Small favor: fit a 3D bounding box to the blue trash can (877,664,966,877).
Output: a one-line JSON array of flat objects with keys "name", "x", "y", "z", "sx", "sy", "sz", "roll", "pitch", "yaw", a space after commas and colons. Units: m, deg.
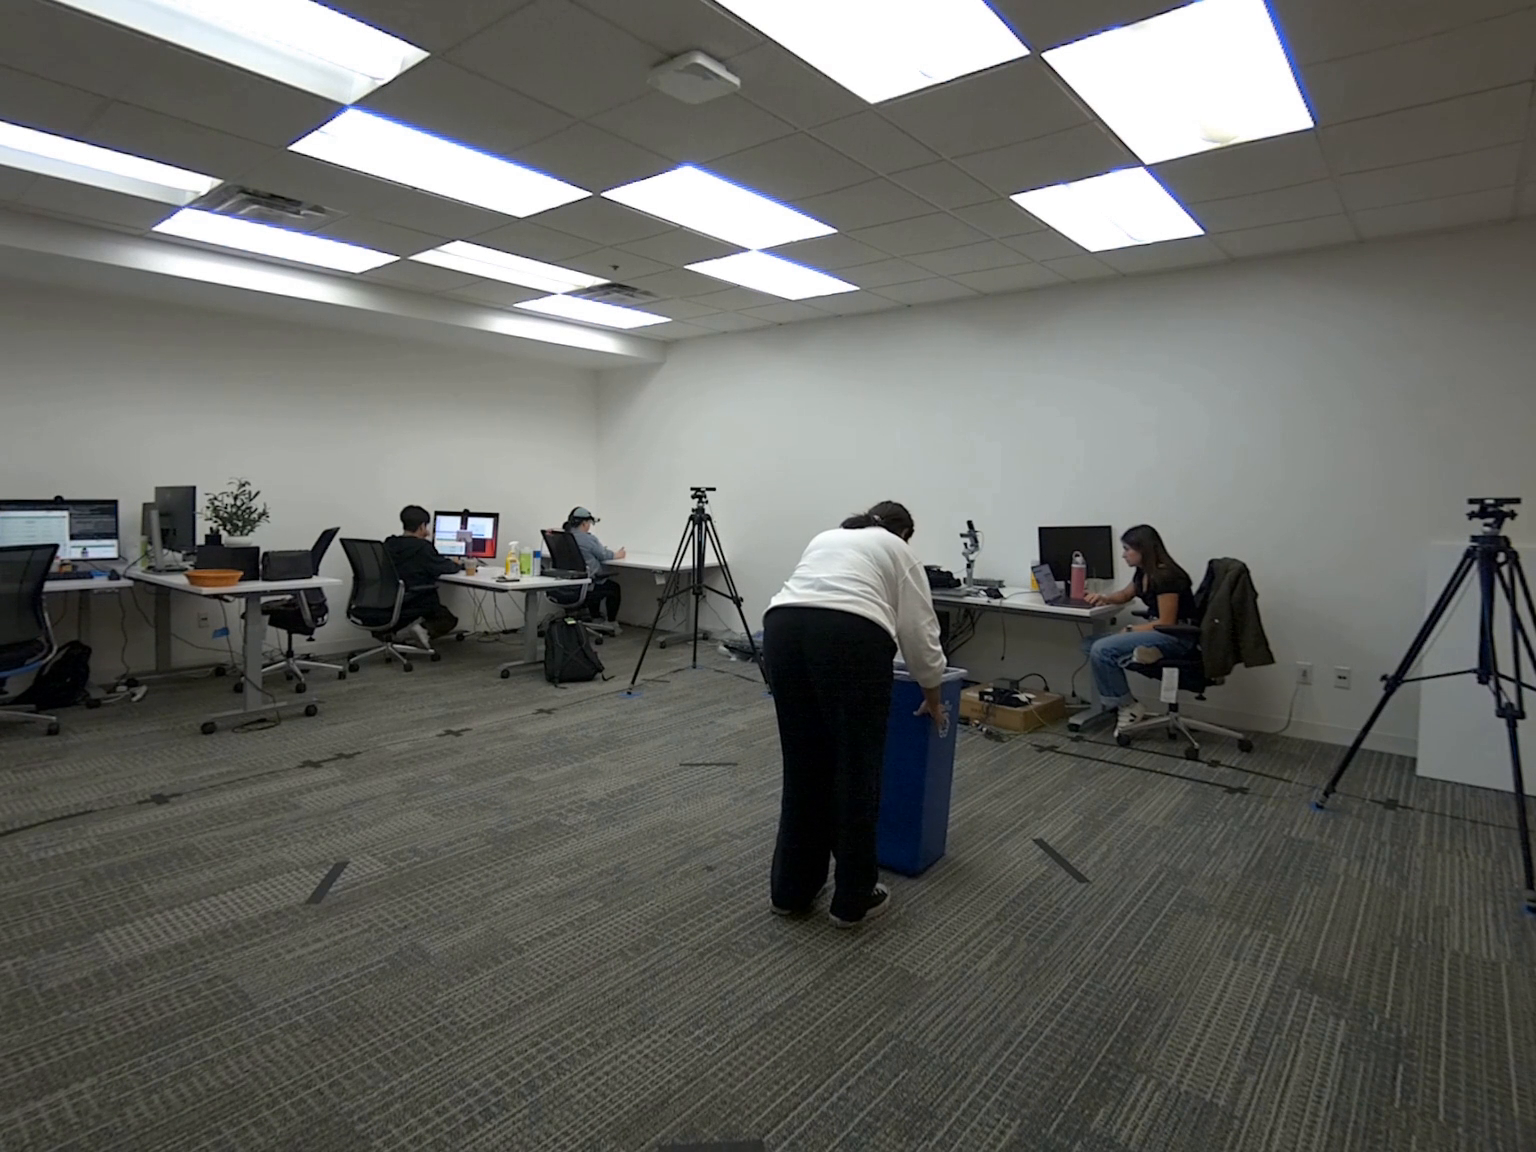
[{"name": "blue trash can", "x": 0.502, "y": 0.703, "z": 3.269, "sx": 0.390, "sy": 0.714, "sz": 0.362, "roll": 4, "pitch": 0, "yaw": 33}]
